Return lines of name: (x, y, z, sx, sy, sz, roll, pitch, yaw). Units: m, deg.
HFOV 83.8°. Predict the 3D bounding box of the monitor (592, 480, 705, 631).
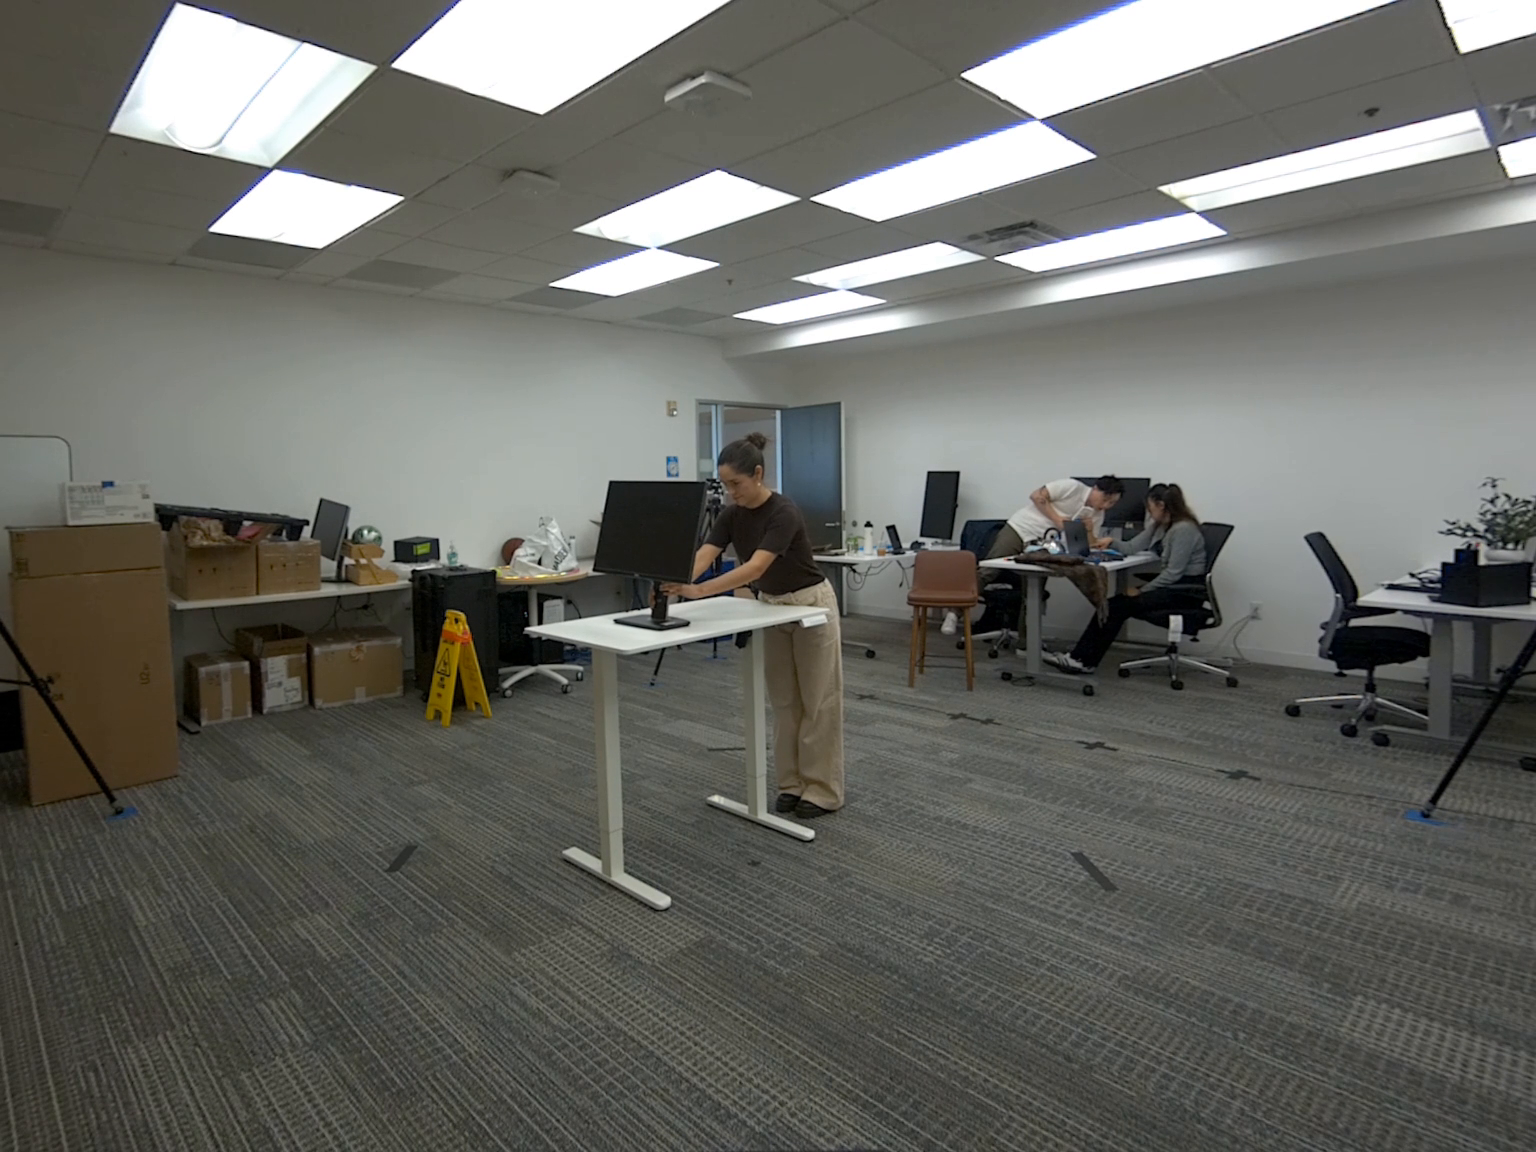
monitor: (-0.413, -0.082, 3.069, 0.547, 0.512, 0.170, 6, 10, 43)
